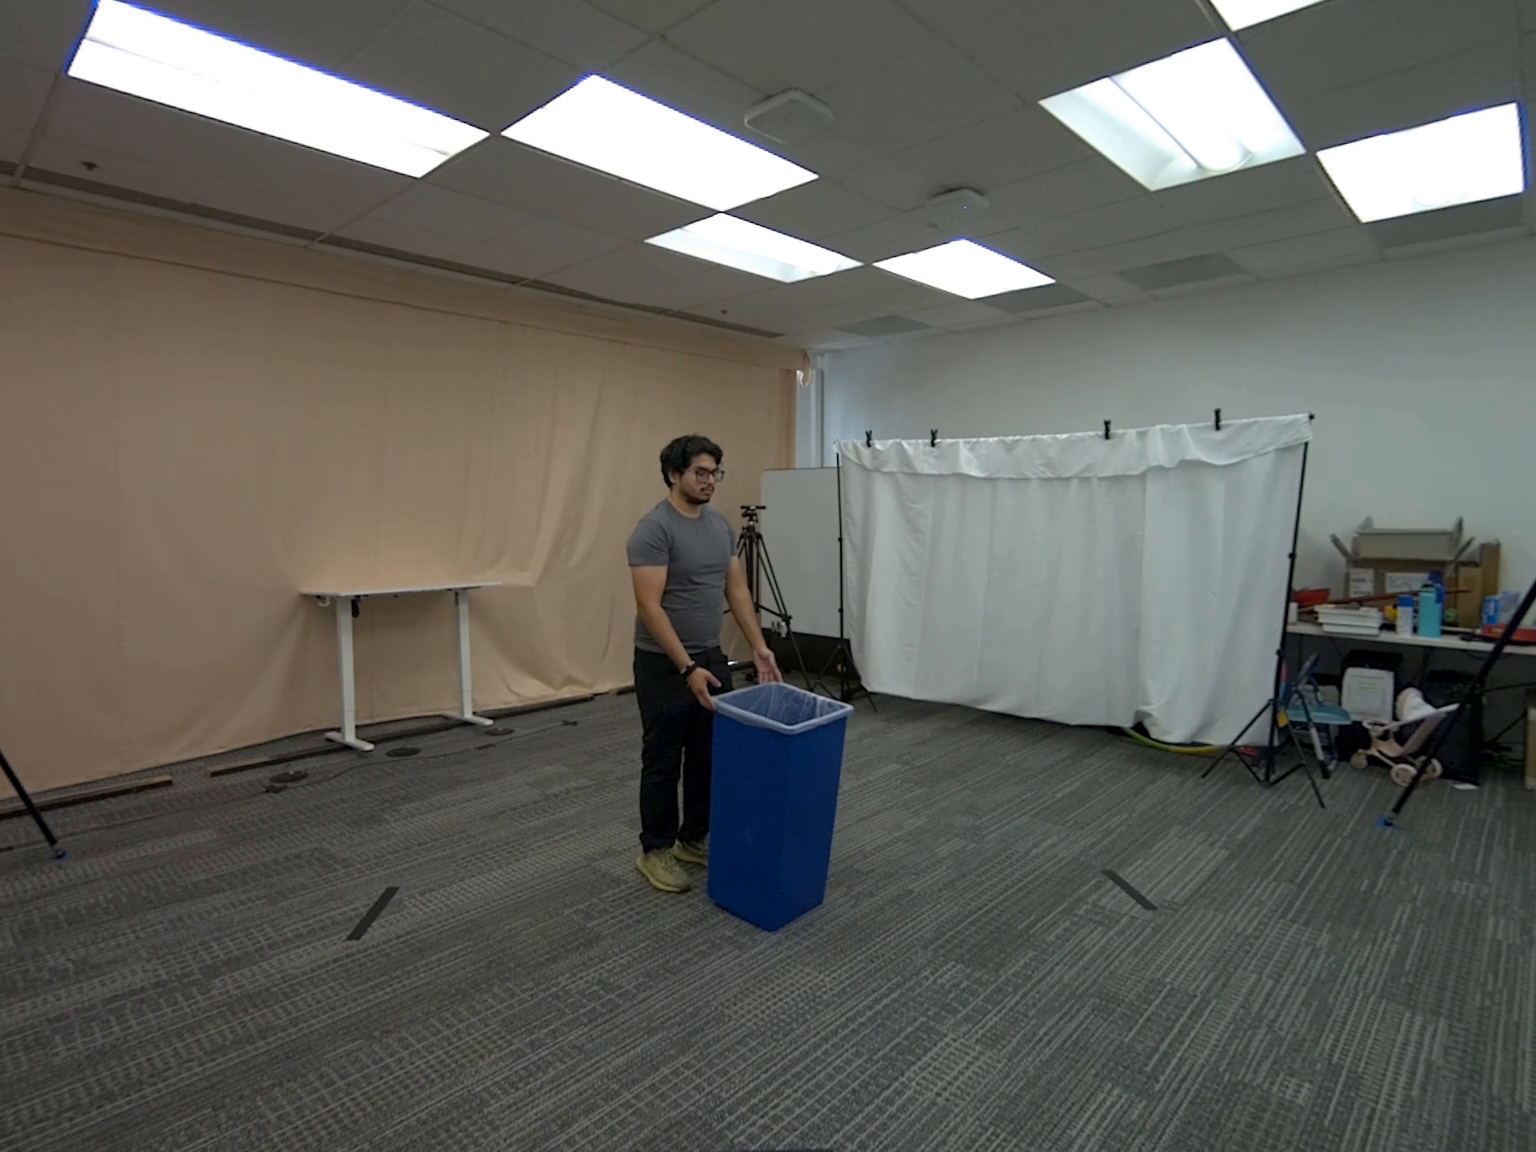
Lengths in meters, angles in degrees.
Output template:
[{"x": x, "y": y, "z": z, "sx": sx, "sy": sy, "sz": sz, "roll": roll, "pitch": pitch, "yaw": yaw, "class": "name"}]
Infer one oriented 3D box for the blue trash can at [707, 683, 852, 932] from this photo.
[{"x": 0.016, "y": 0.782, "z": 2.902, "sx": 0.387, "sy": 0.710, "sz": 0.367, "roll": 10, "pitch": 10, "yaw": 39, "class": "blue trash can"}]
